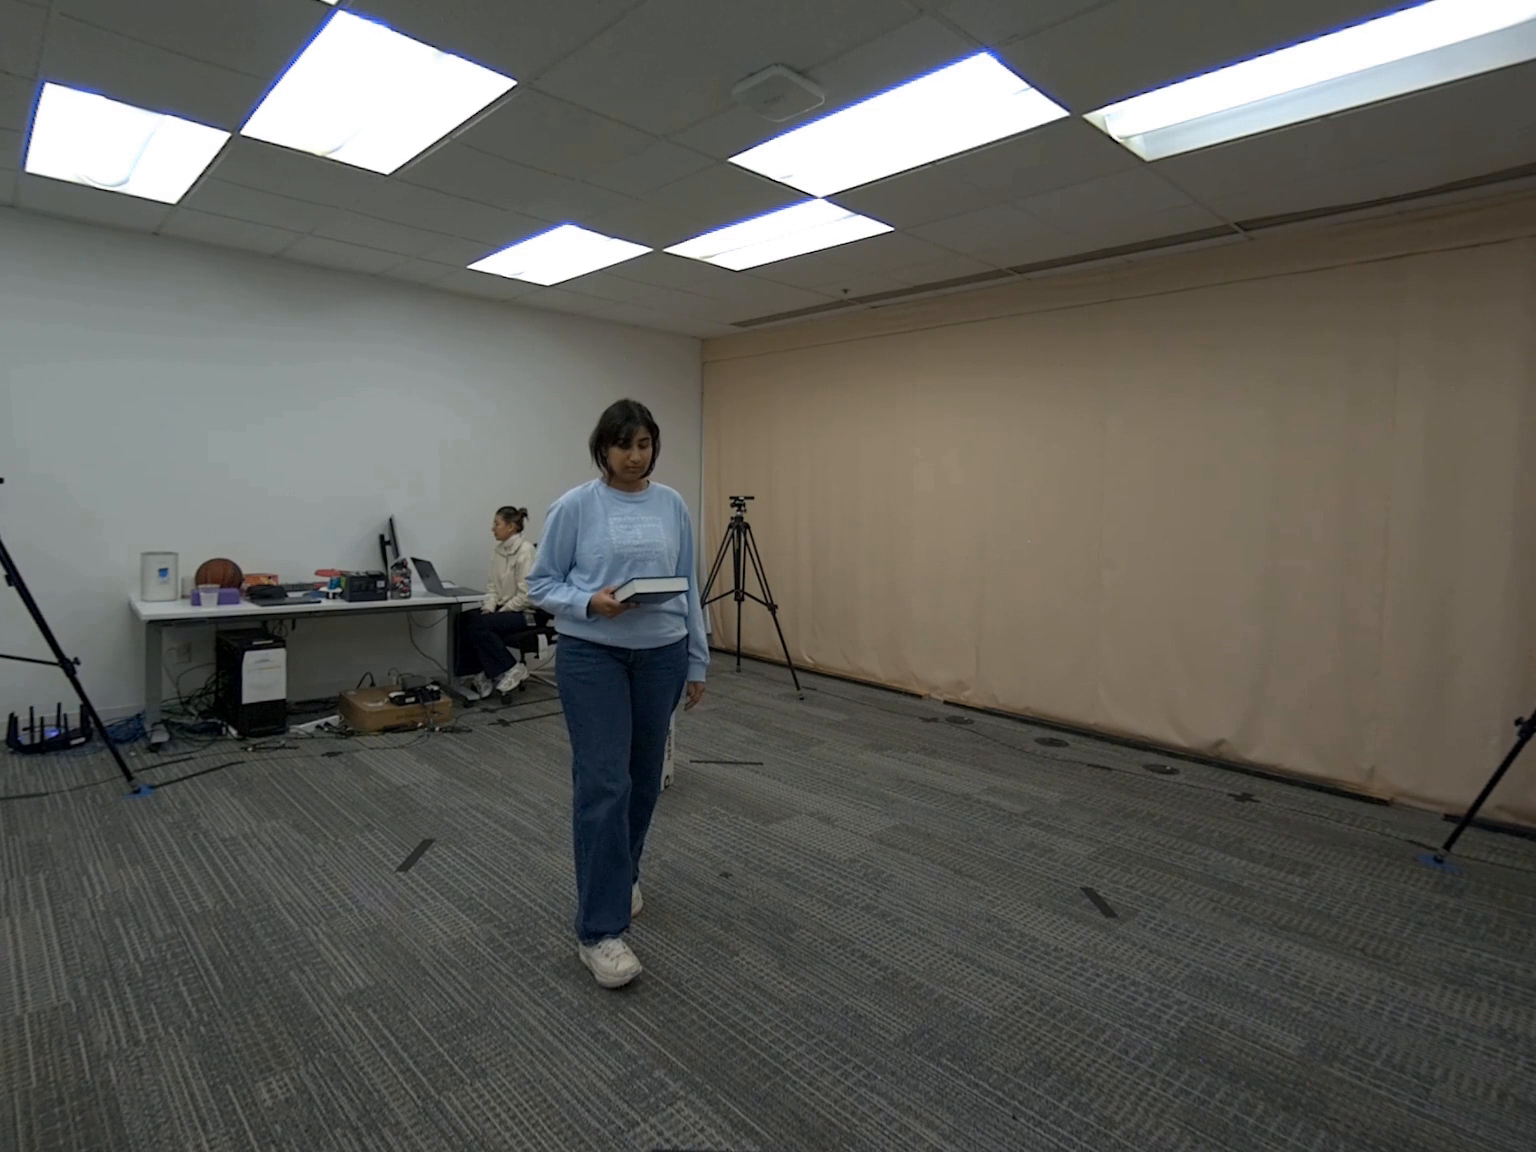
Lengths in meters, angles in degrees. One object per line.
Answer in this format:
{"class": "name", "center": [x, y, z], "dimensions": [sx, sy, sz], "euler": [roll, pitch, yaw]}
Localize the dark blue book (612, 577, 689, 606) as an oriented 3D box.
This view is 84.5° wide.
{"class": "dark blue book", "center": [-0.348, 0.041, 2.424], "dimensions": [0.160, 0.045, 0.248], "euler": [-4, -7, -27]}
